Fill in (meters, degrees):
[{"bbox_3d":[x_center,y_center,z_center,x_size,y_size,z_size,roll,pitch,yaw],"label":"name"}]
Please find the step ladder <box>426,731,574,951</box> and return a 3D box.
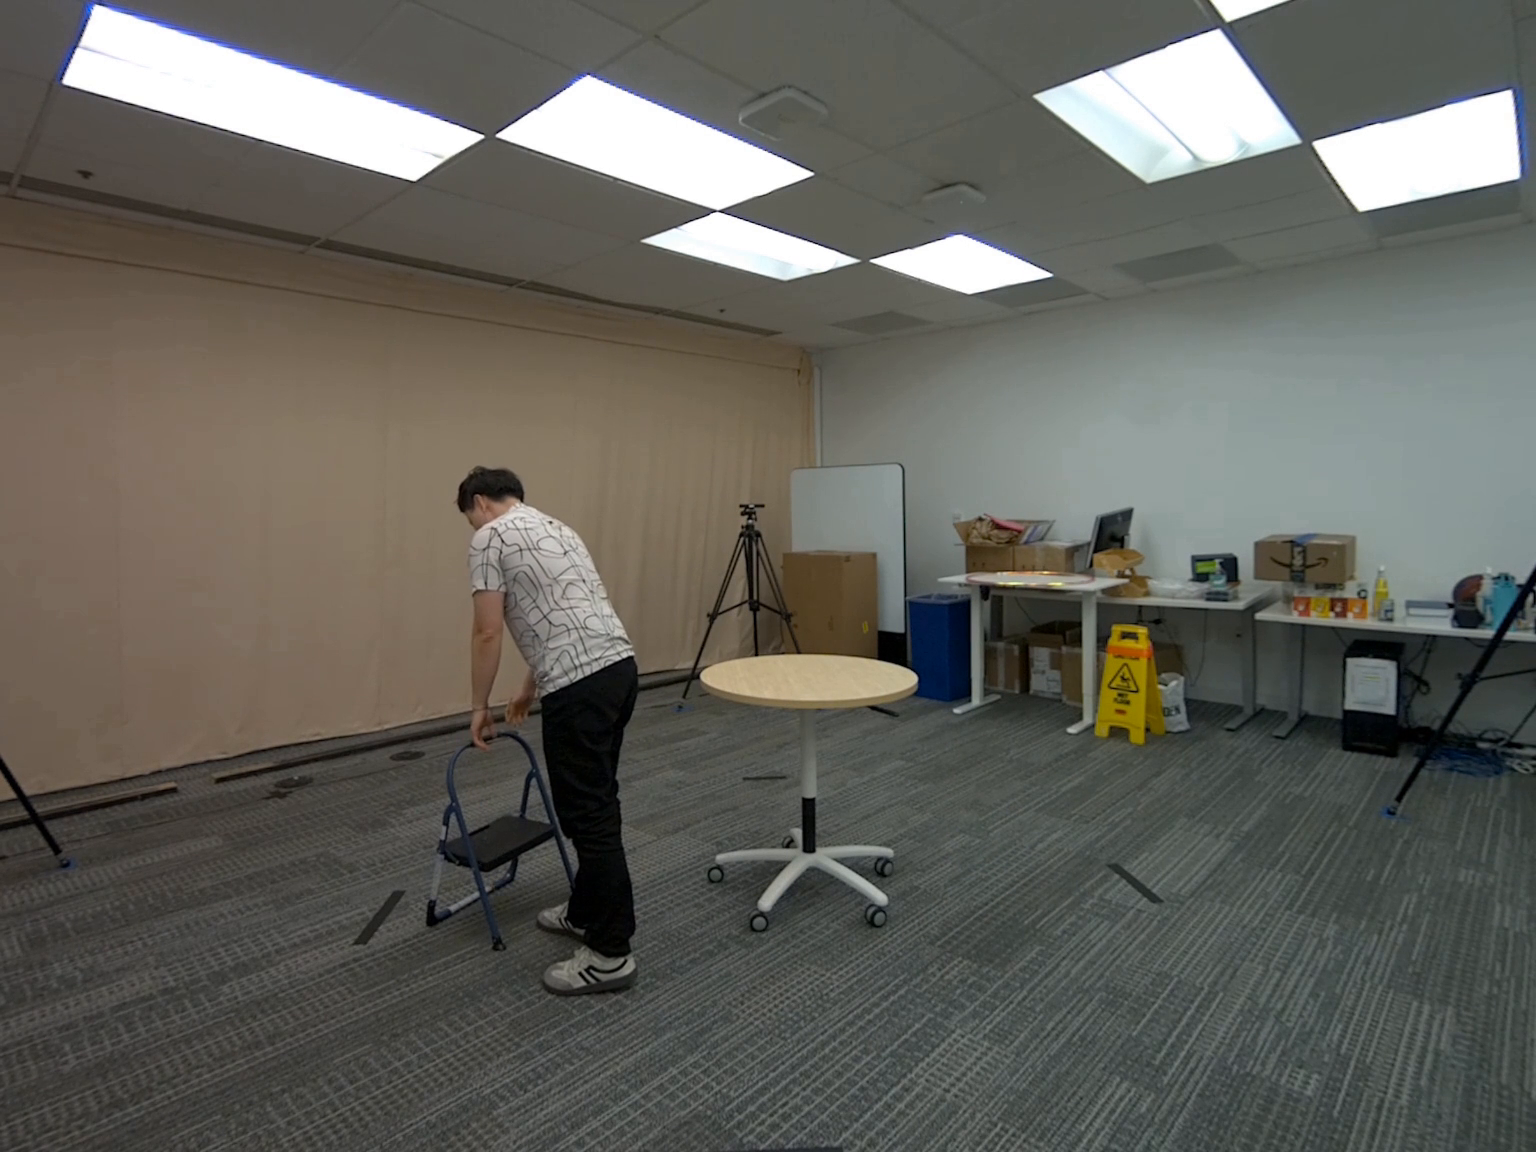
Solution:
[{"bbox_3d":[-0.924,0.868,2.912,0.359,0.605,0.420,0,4,27],"label":"step ladder"}]
